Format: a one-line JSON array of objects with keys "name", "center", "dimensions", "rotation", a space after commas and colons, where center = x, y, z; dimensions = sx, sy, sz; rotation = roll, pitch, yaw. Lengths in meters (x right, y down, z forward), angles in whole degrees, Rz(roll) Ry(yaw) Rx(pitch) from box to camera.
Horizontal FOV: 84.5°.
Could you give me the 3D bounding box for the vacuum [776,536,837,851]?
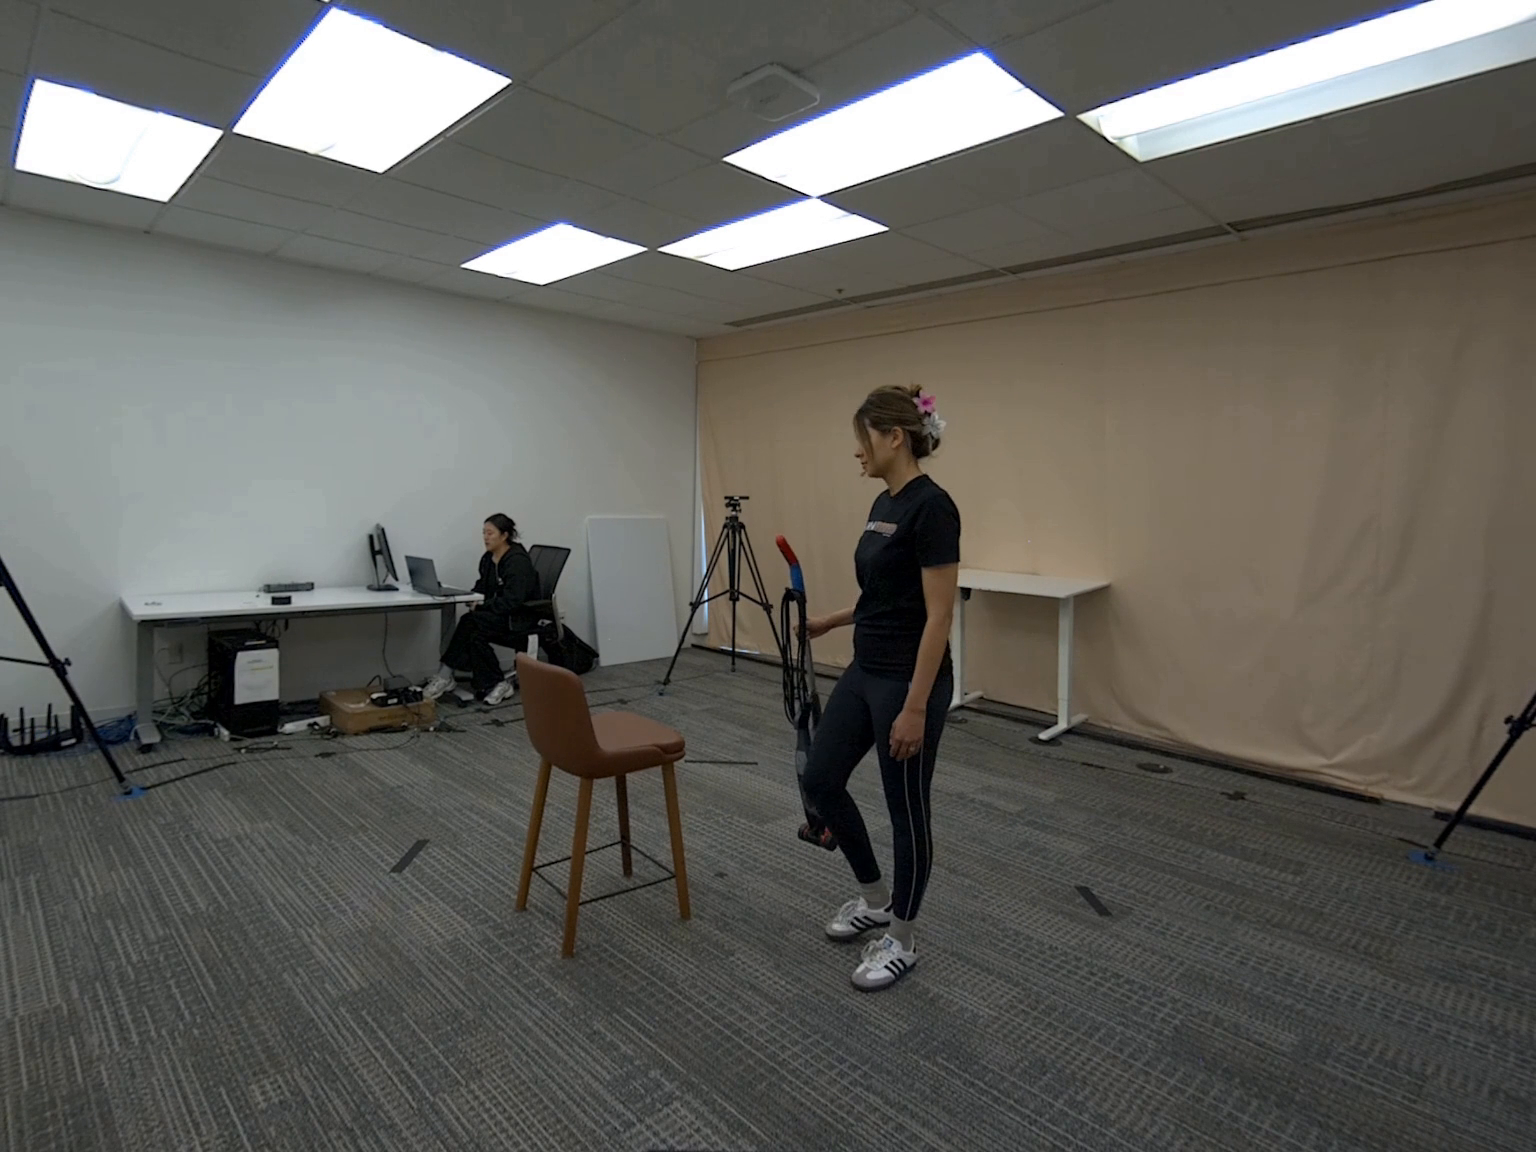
[{"name": "vacuum", "center": [0.105, 0.389, 2.692], "dimensions": [0.259, 1.037, 0.142], "rotation": [2, 18, 43]}]
